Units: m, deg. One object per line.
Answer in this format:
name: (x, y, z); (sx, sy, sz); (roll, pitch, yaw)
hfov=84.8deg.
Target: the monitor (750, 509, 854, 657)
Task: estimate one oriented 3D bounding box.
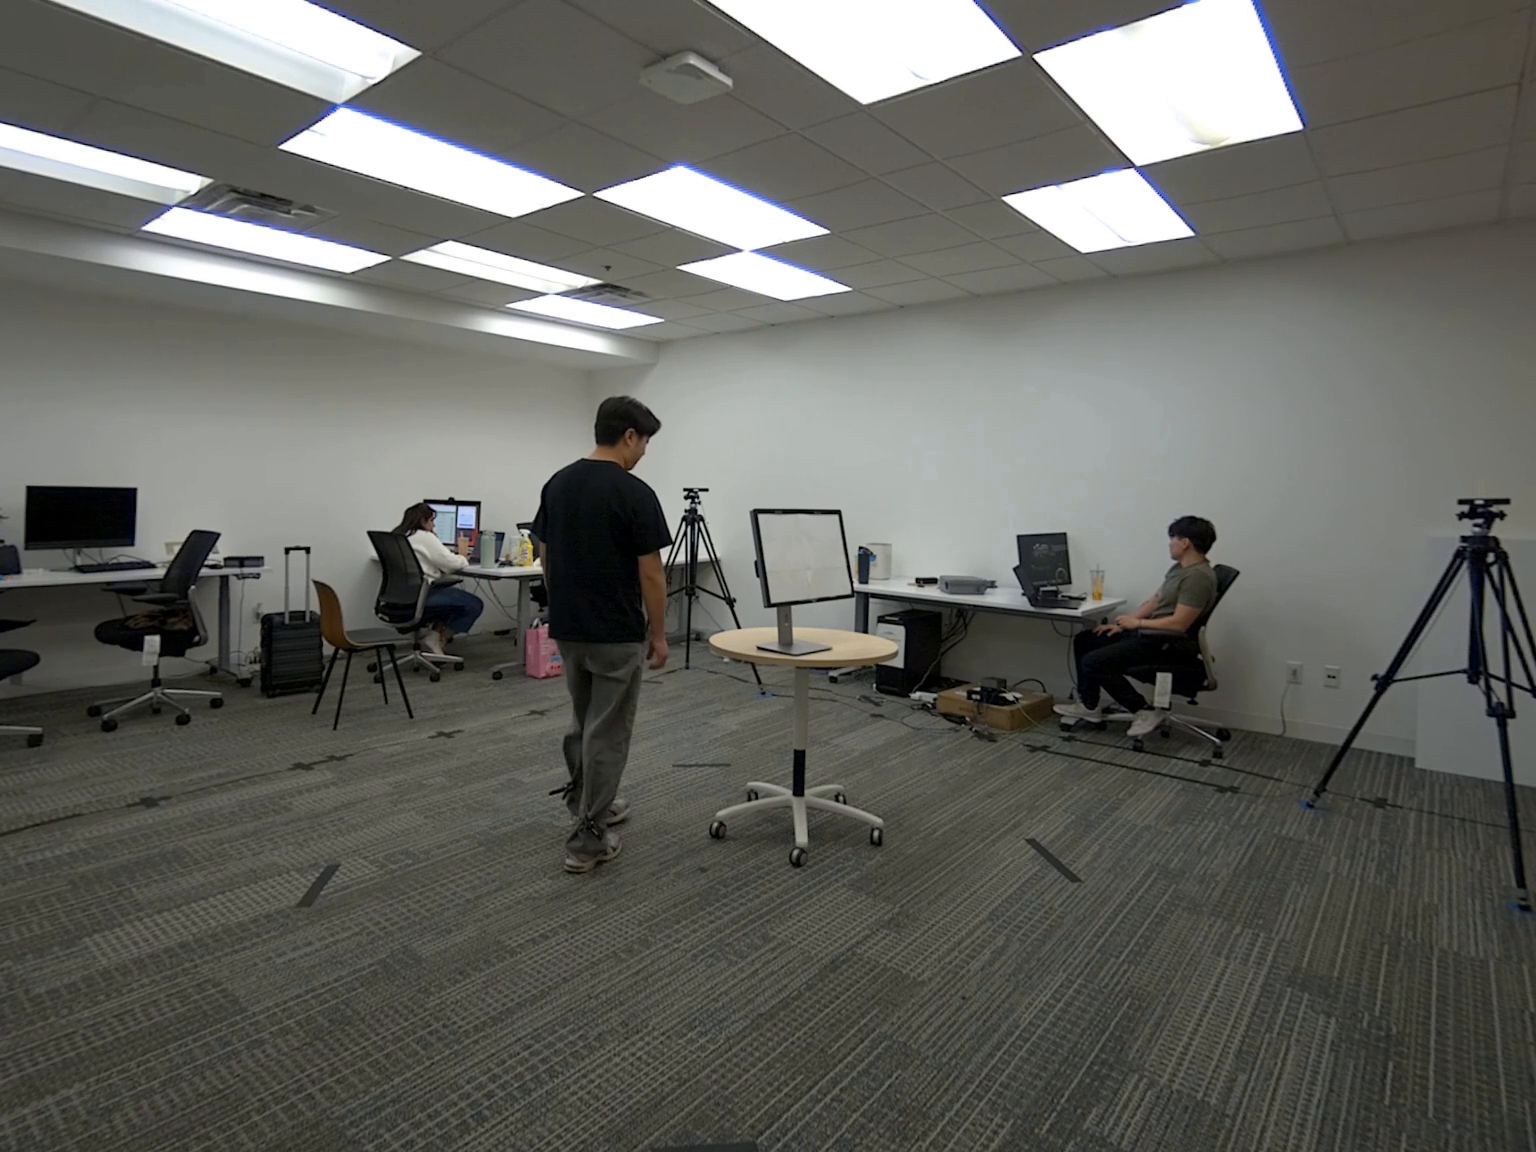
monitor: (0.085, 0.015, 3.308); (0.216, 0.555, 0.548); (-6, -1, 40)
